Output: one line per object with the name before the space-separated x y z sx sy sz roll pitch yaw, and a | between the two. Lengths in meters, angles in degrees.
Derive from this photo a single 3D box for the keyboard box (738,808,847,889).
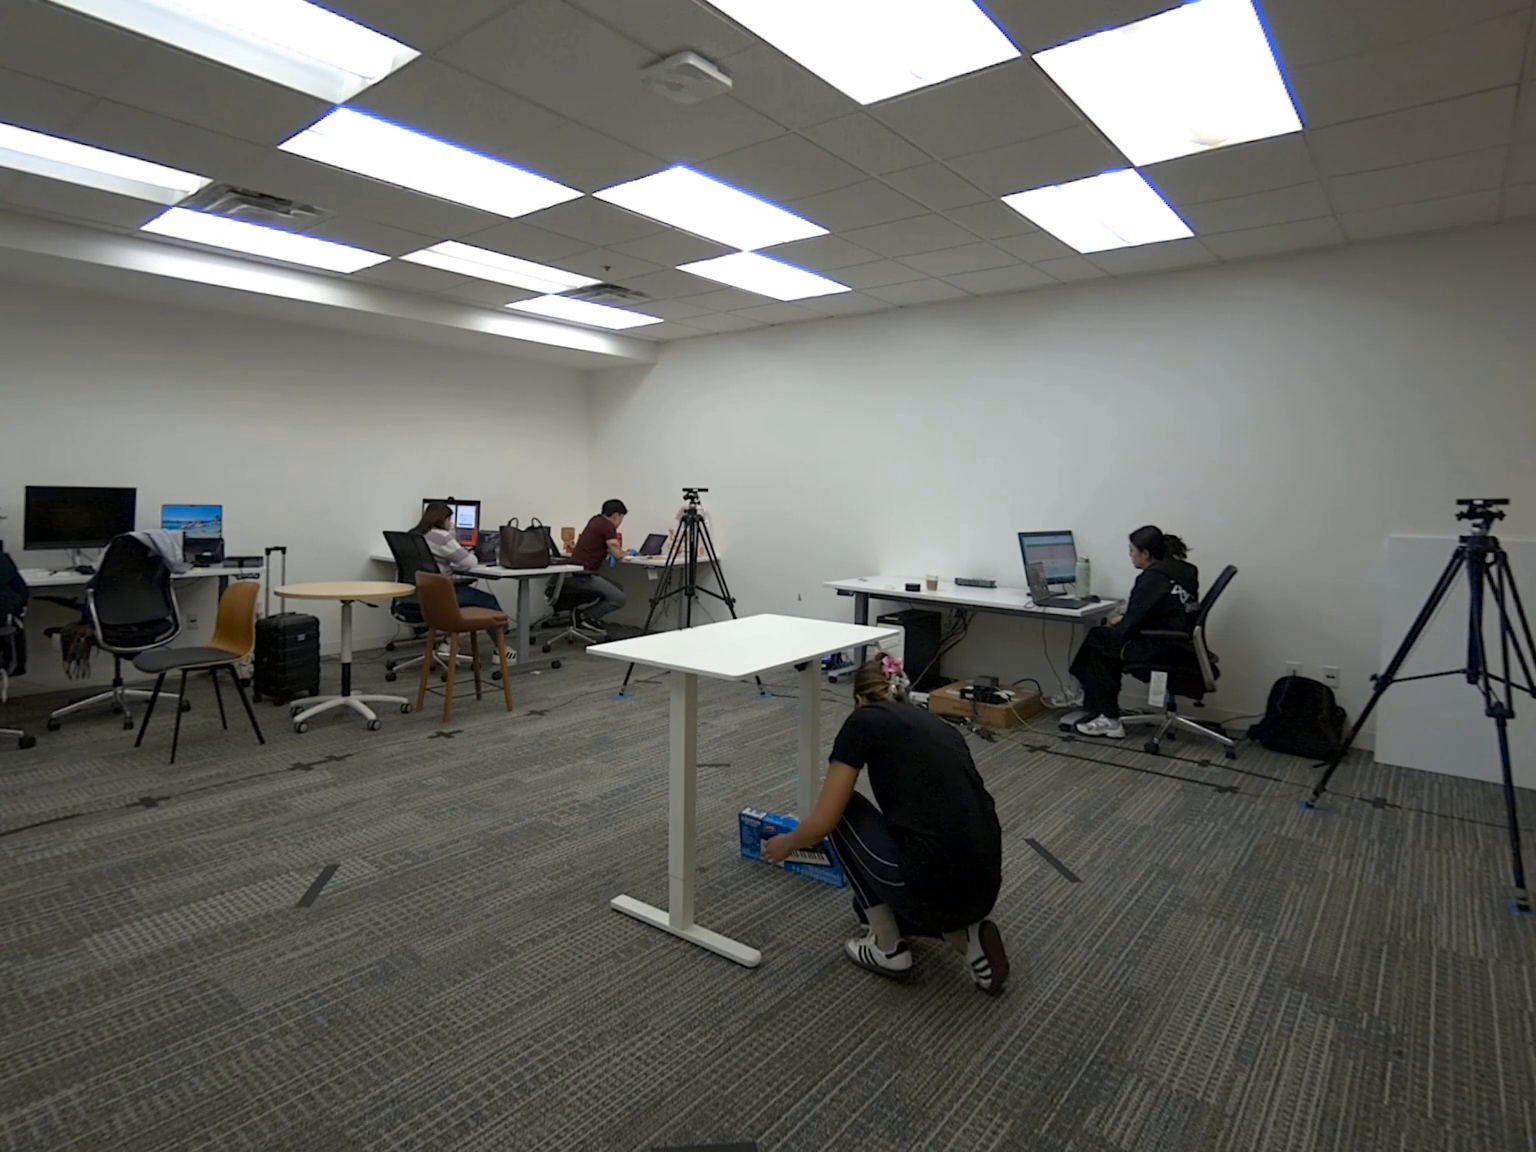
keyboard box | 0.083 0.986 3.126 0.451 0.174 0.058 5 12 35
